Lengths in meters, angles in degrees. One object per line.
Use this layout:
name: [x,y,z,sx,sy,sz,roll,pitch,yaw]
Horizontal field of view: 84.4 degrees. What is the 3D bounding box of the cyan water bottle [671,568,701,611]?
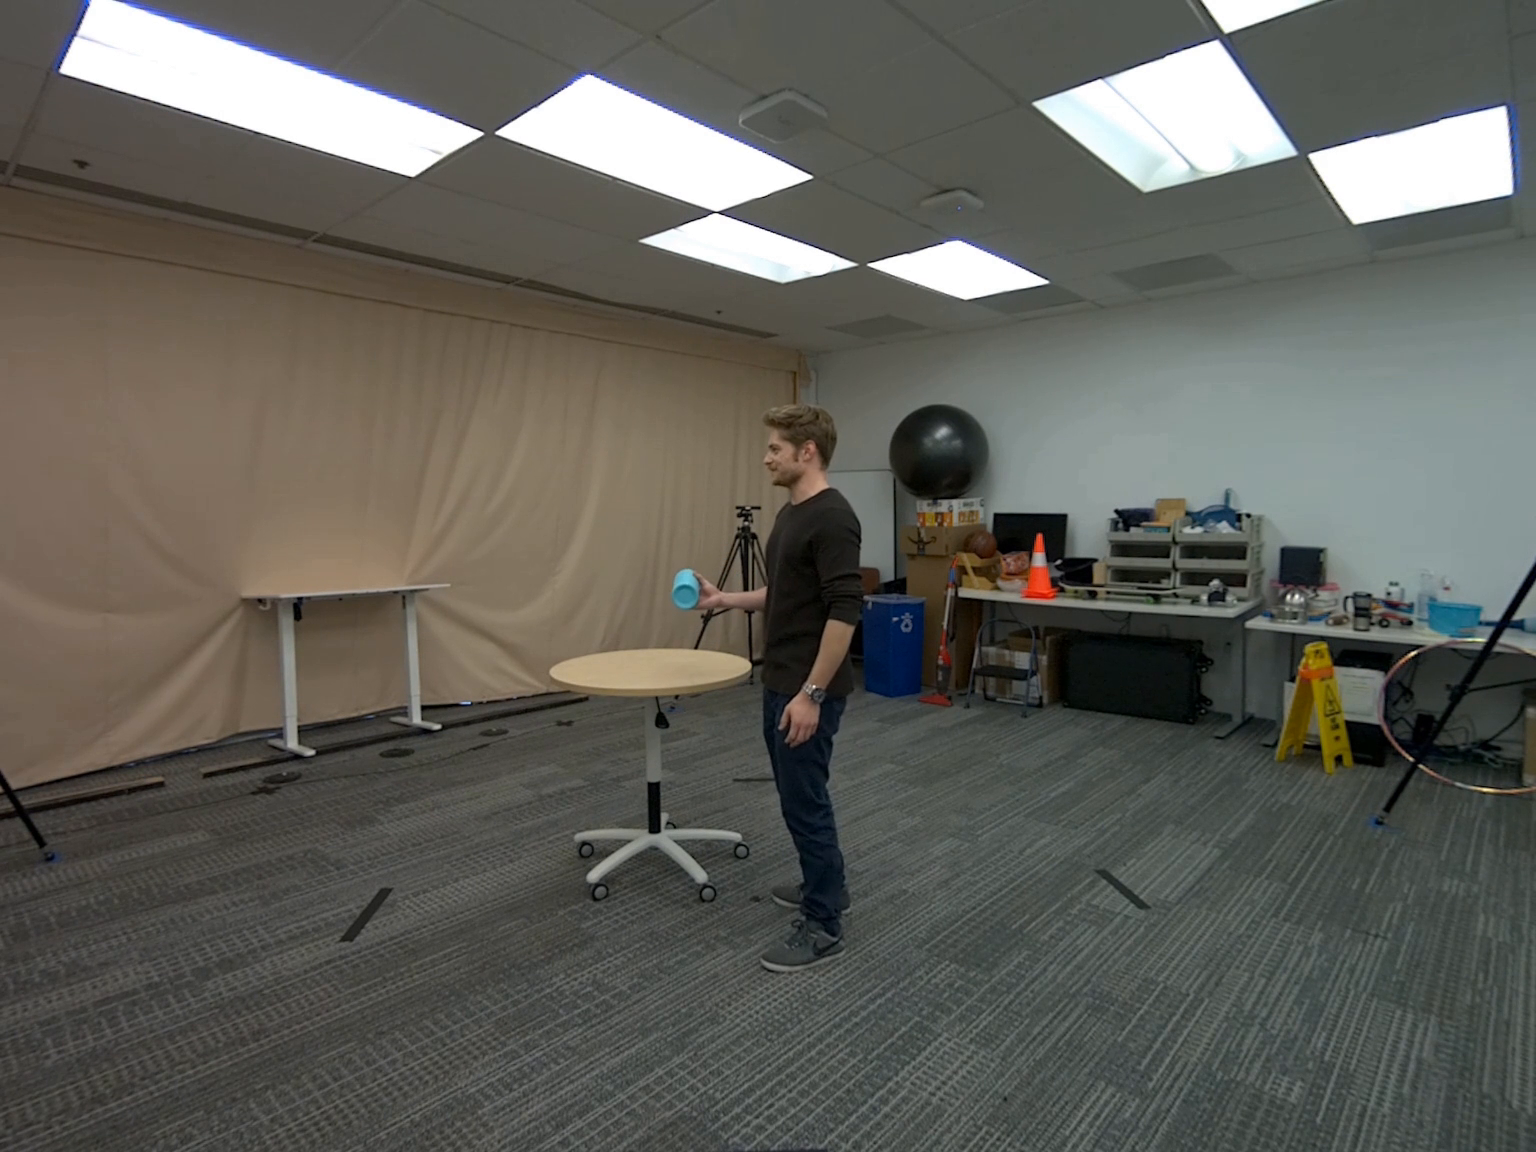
cyan water bottle: [-0.271,0.036,2.861,0.092,0.092,0.285,0,9,-3]
